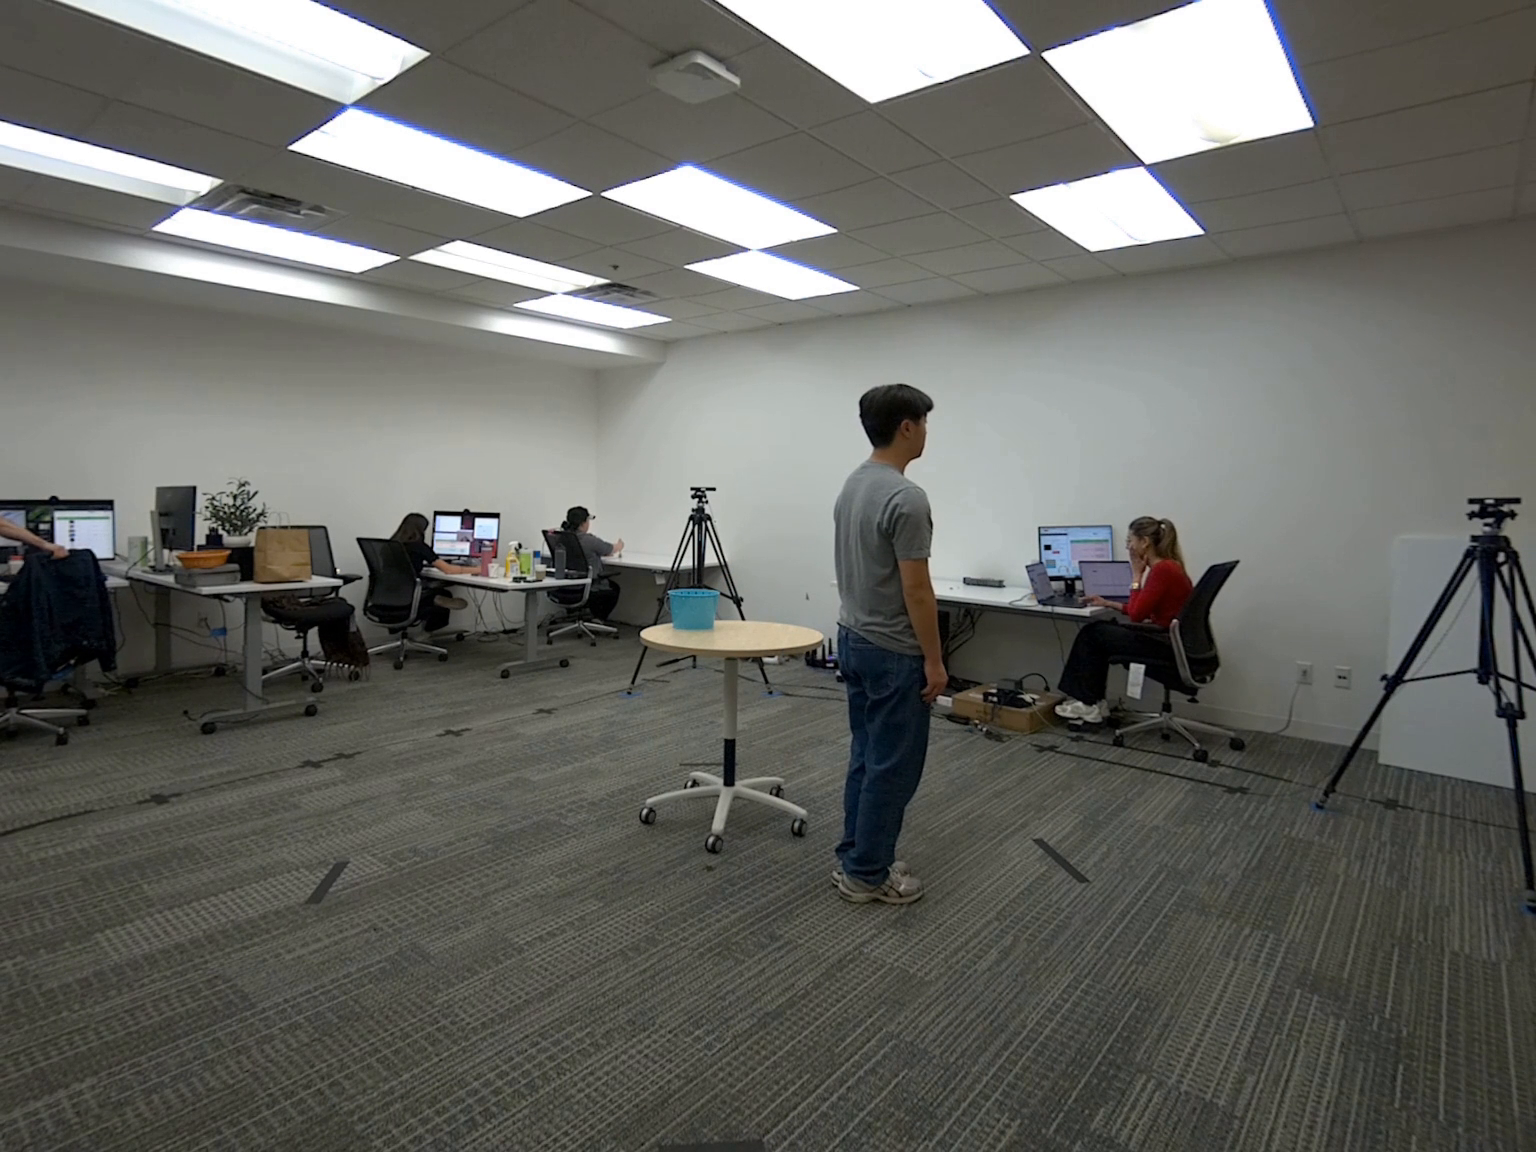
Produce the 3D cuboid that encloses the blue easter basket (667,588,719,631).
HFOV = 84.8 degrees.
[{"bbox_3d":[-0.337,0.147,3.753,0.243,0.155,0.244,0,3,-2],"label":"blue easter basket"}]
